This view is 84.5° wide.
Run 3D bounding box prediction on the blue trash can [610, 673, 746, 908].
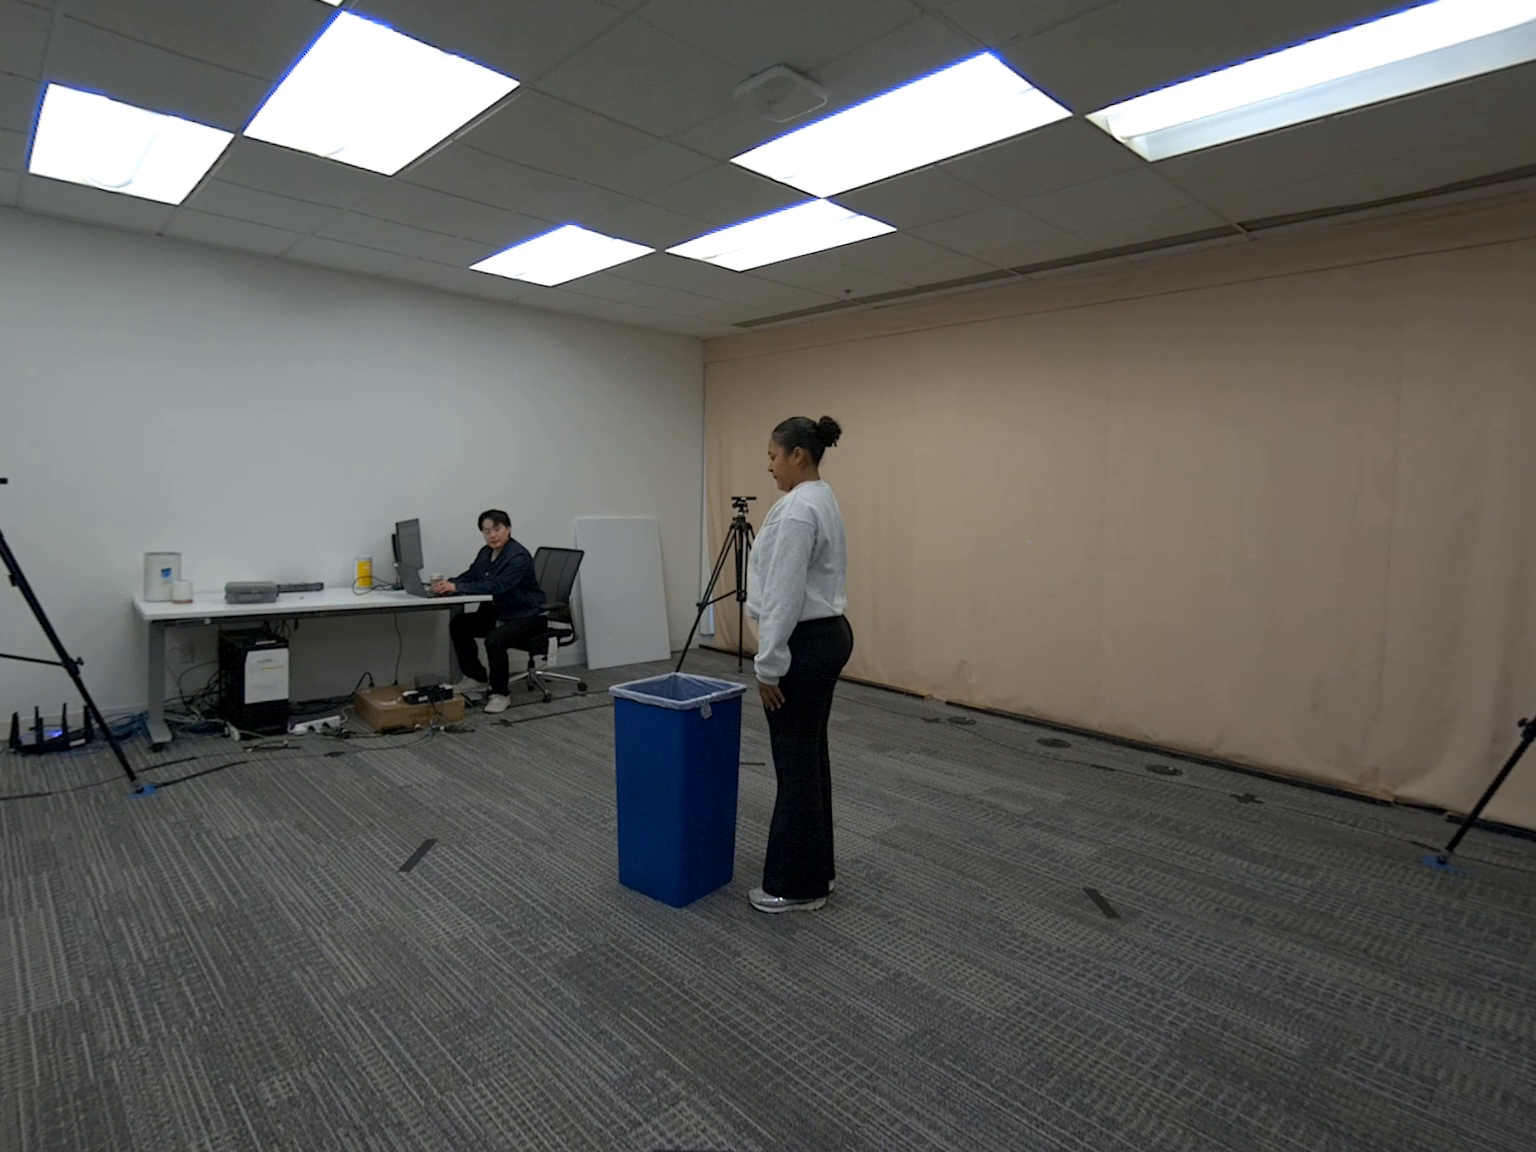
[{"bbox_3d":[-0.330,0.748,3.038,0.387,0.712,0.366,3,5,36],"label":"blue trash can"}]
